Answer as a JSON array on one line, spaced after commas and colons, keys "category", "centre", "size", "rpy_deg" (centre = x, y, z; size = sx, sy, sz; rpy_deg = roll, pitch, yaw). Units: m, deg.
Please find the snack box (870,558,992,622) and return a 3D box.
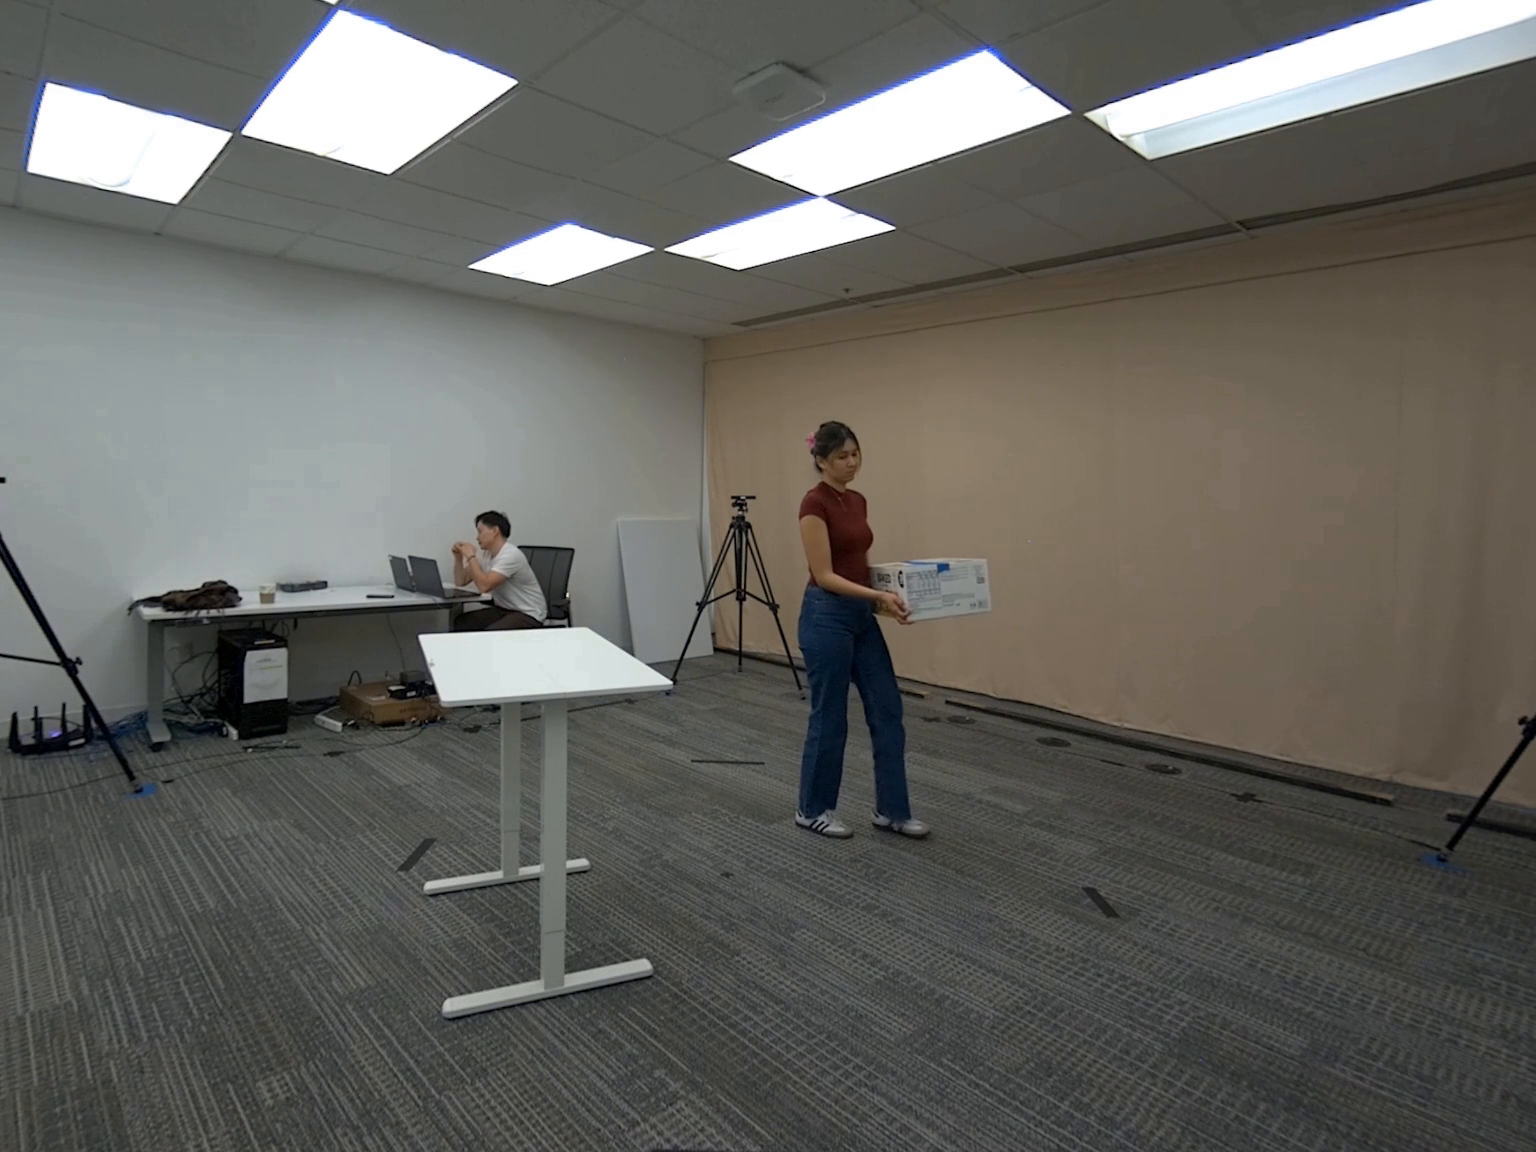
[{"category": "snack box", "centre": [0.622, 0.046, 3.351], "size": [0.338, 0.205, 0.409], "rpy_deg": [-6, 2, -11]}]
